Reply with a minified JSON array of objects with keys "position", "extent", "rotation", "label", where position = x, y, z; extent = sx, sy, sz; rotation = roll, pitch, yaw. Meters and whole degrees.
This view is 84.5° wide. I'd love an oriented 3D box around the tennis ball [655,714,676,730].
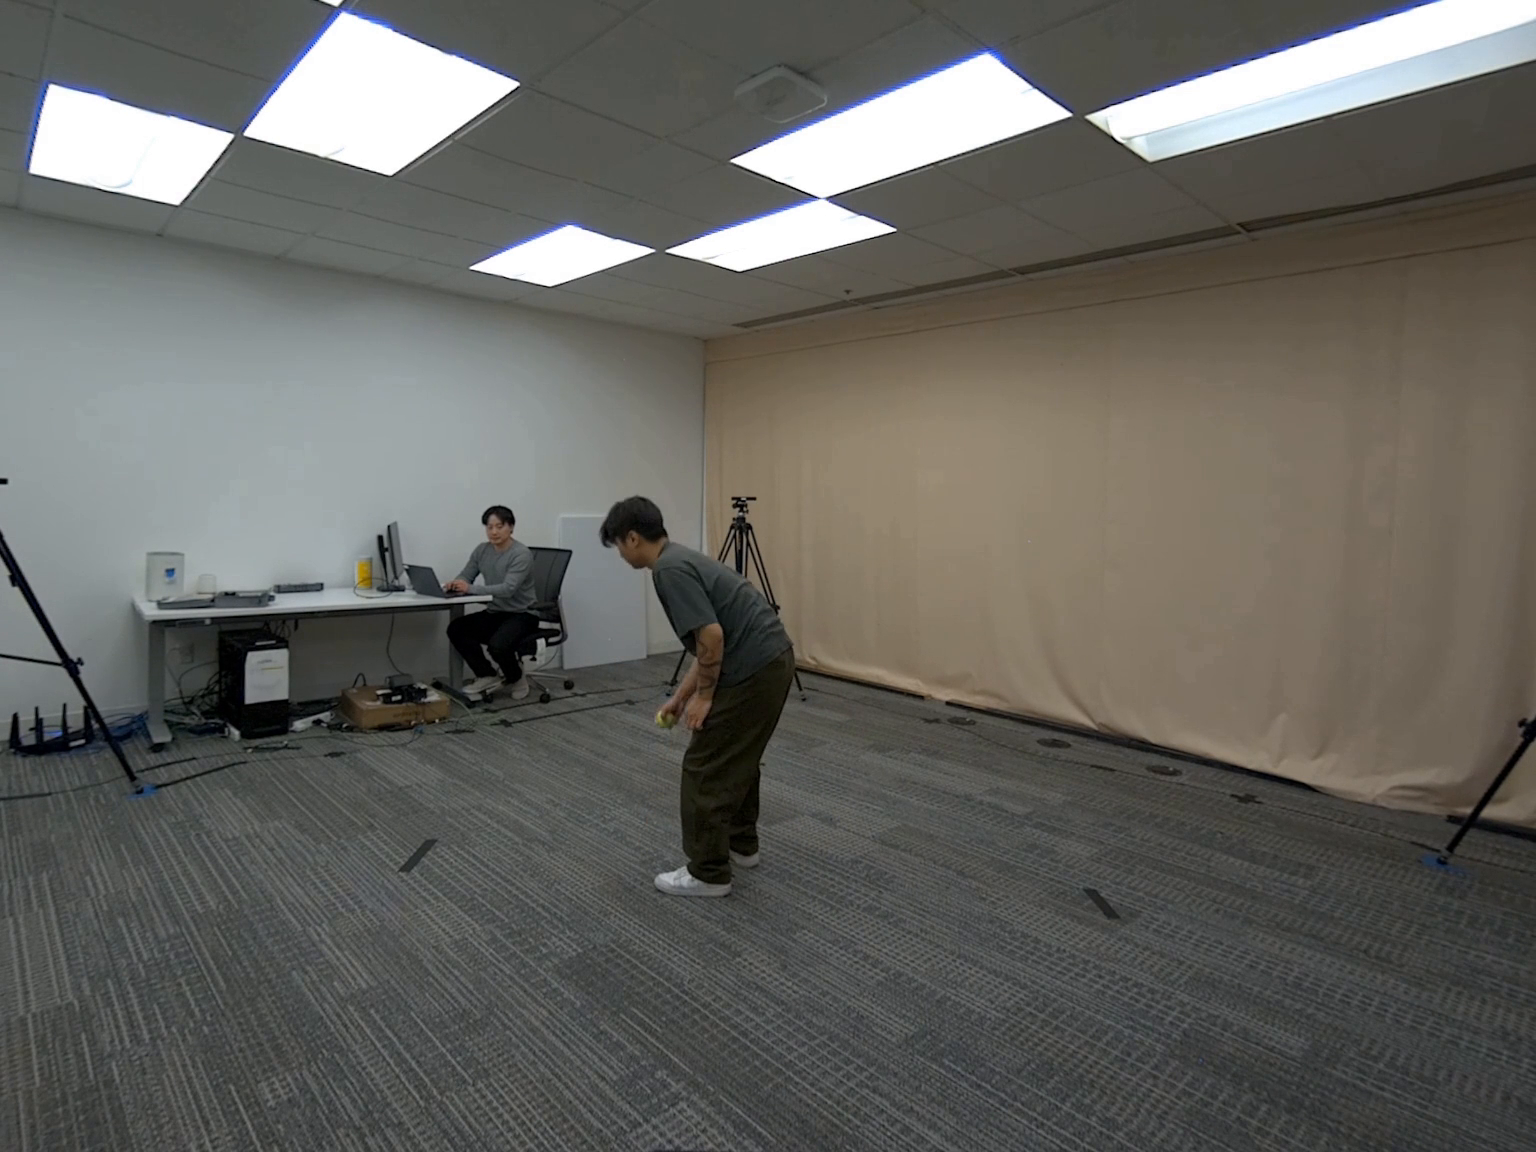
[{"position":[-0.402,0.570,3.255],"extent":[0.066,0.066,0.067],"rotation":[1,4,-1],"label":"tennis ball"}]
